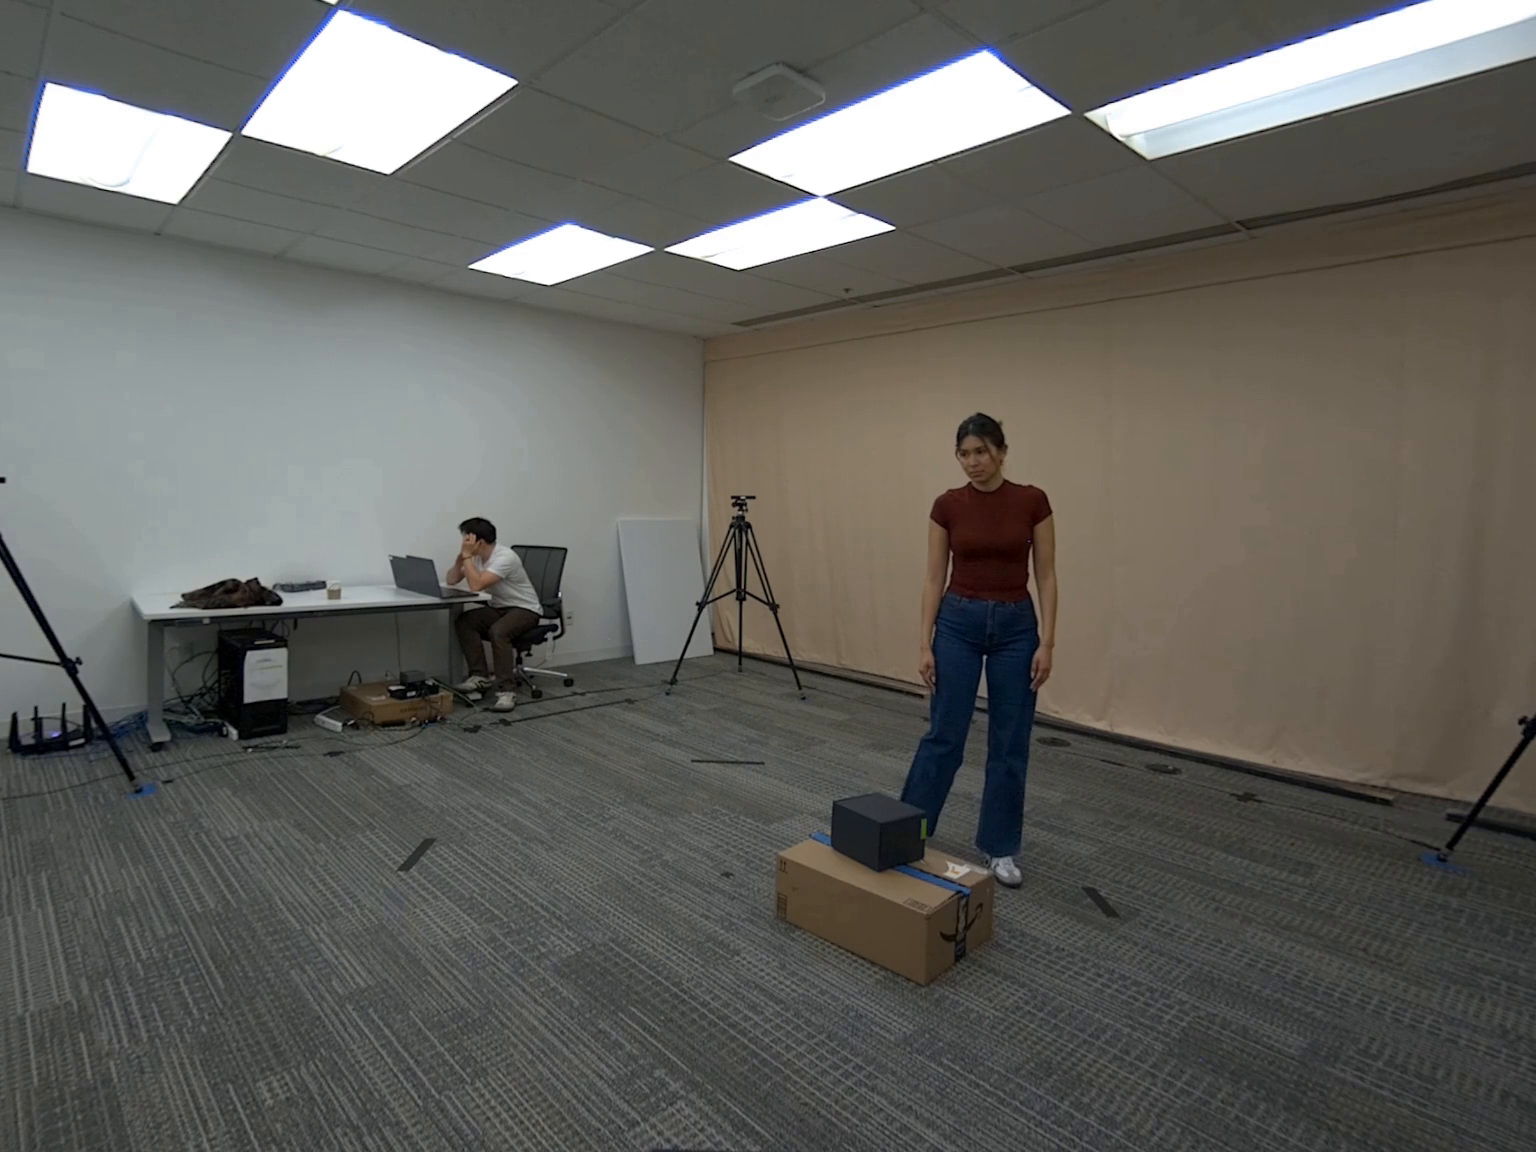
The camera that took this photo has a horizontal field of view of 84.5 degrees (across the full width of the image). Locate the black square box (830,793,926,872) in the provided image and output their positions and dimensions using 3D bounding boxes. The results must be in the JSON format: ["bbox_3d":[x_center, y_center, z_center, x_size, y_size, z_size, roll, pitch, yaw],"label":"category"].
[{"bbox_3d":[0.363,0.842,2.794,0.212,0.156,0.233,1,4,-37],"label":"black square box"}]
